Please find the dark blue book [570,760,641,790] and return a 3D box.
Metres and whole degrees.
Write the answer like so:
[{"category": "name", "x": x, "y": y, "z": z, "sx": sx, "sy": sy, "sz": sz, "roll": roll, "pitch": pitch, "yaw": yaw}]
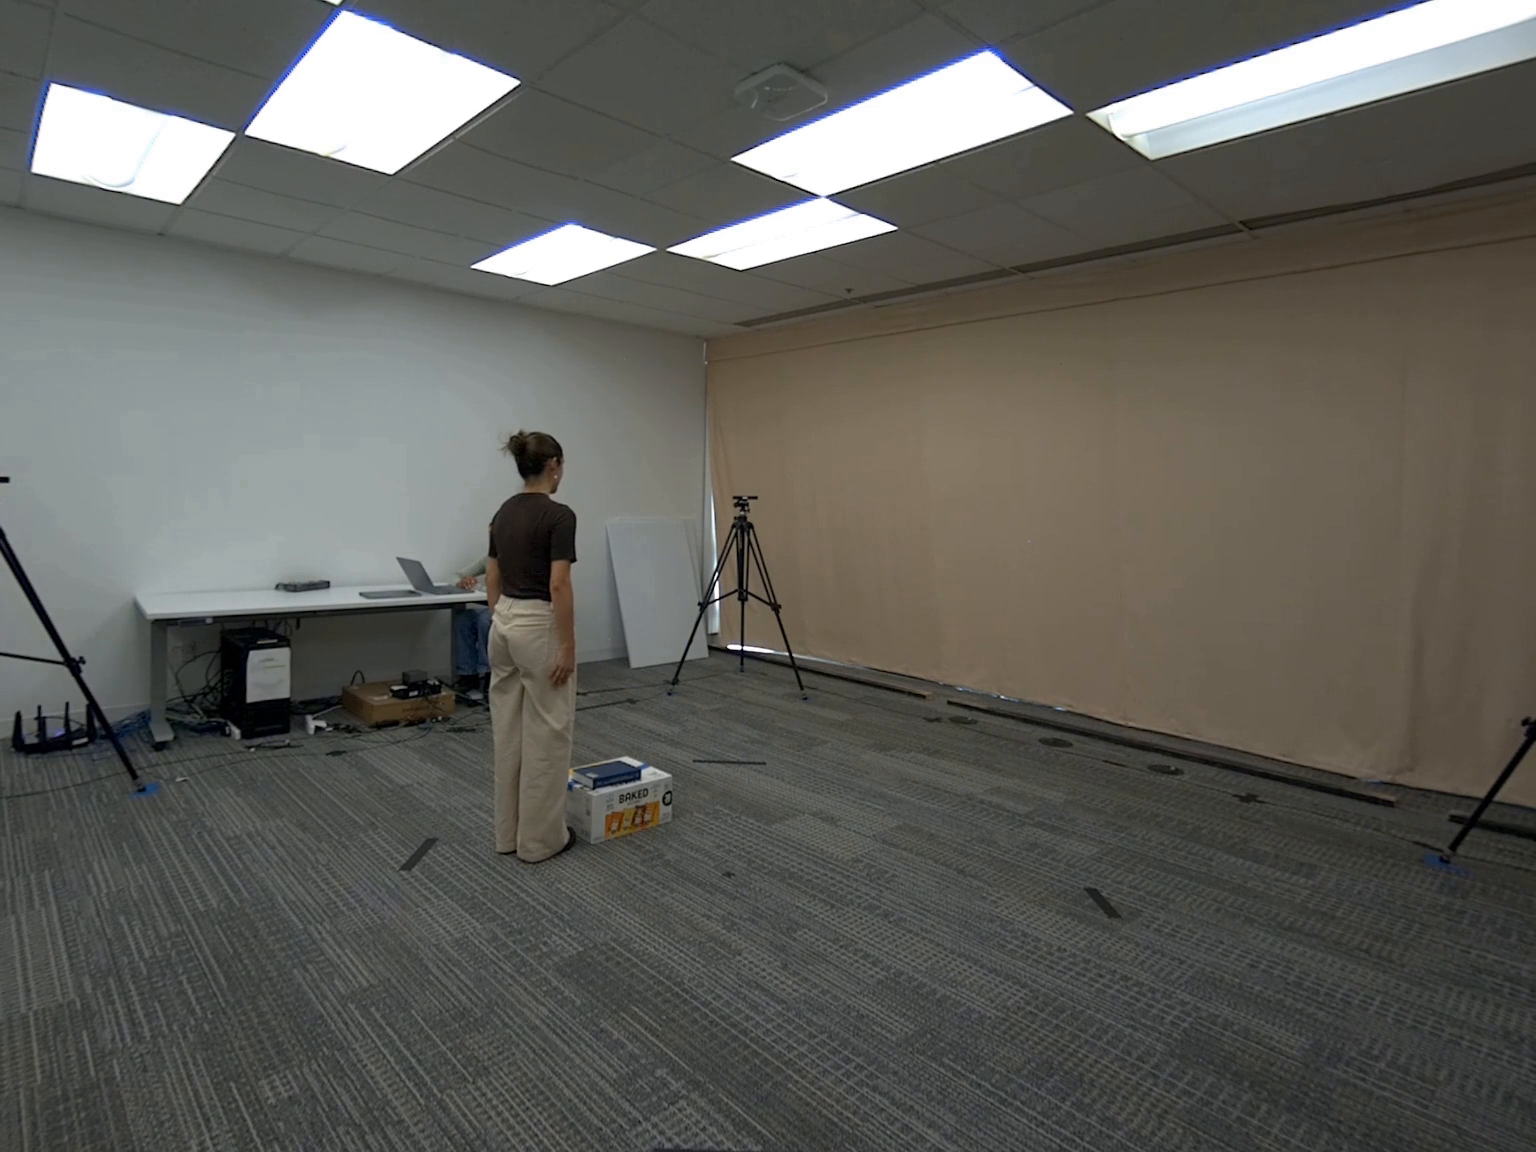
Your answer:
[{"category": "dark blue book", "x": -0.683, "y": 0.831, "z": 3.531, "sx": 0.239, "sy": 0.045, "sz": 0.167, "roll": -1, "pitch": 5, "yaw": -45}]
